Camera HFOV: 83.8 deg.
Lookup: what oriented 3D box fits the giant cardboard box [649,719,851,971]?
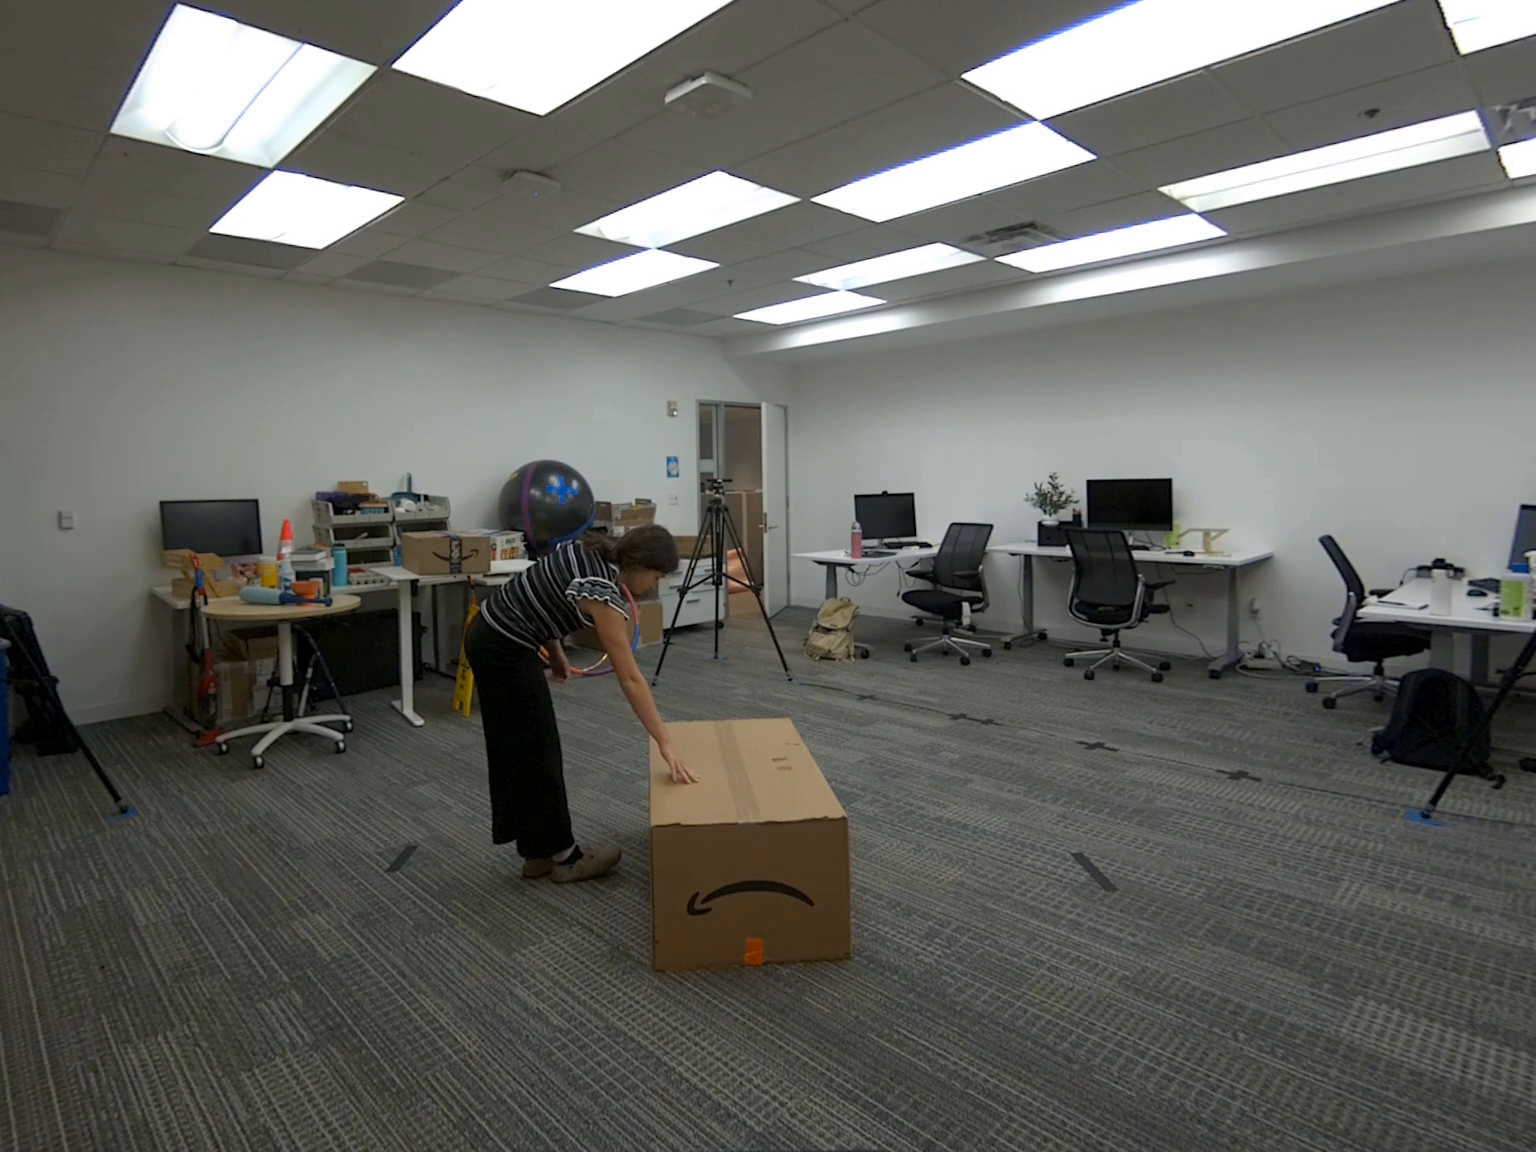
[{"bbox_3d":[-0.117,0.854,2.948,0.574,0.424,1.037,-2,6,-7],"label":"giant cardboard box"}]
